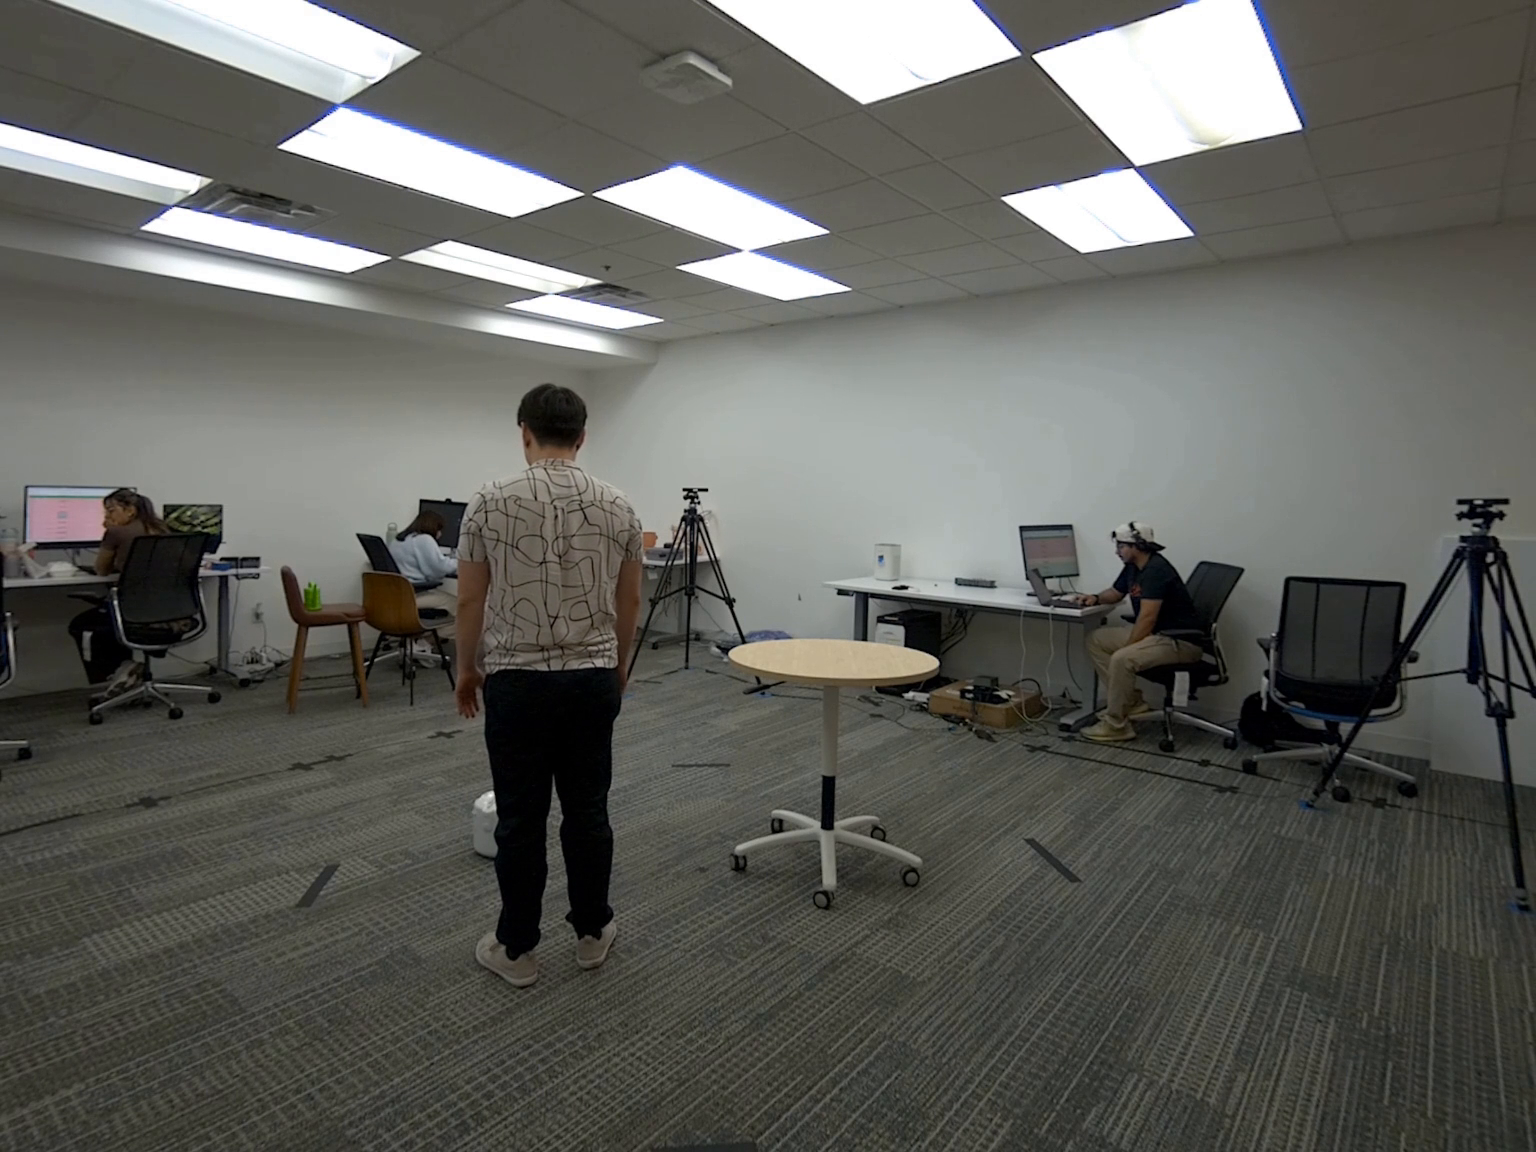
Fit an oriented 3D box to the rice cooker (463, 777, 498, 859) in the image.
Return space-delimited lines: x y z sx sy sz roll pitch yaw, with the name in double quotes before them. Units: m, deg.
"rice cooker" -1.015 0.922 3.236 0.222 0.232 0.217 1 4 17
